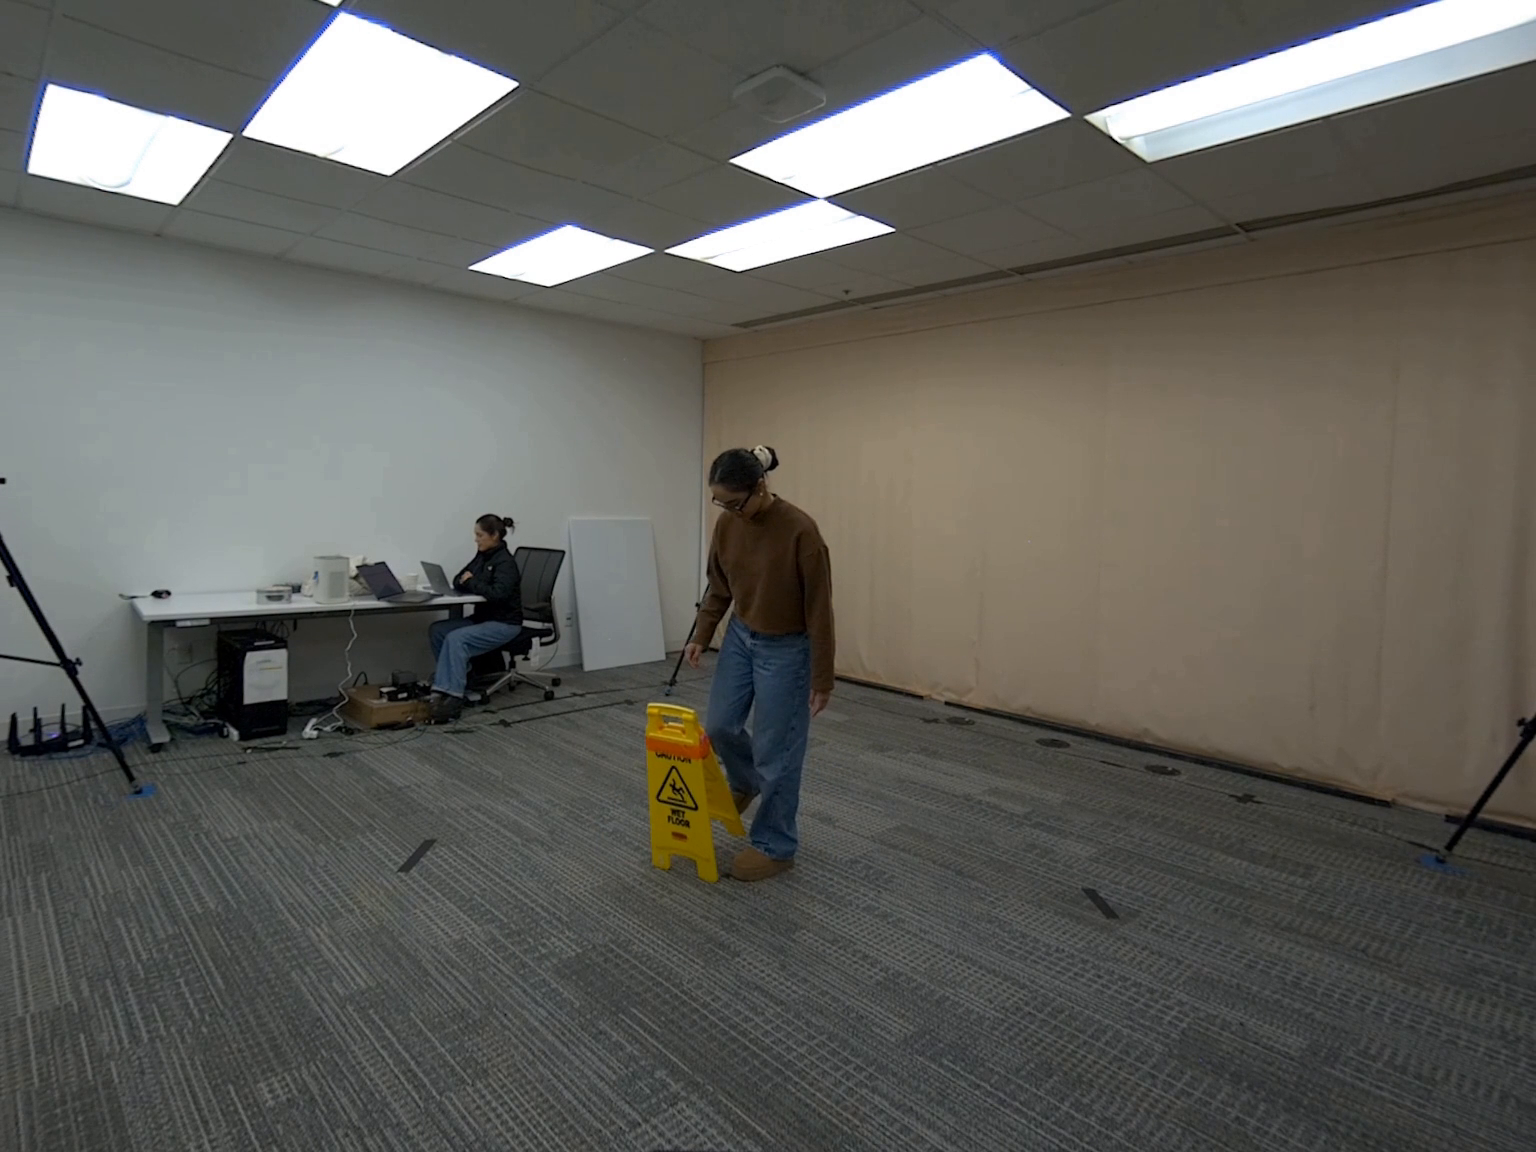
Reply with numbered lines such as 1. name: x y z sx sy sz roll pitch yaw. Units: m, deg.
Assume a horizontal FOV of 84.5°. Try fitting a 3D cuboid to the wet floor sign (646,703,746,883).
1. wet floor sign: -0.300 0.753 3.095 0.288 0.635 0.289 4 25 25
